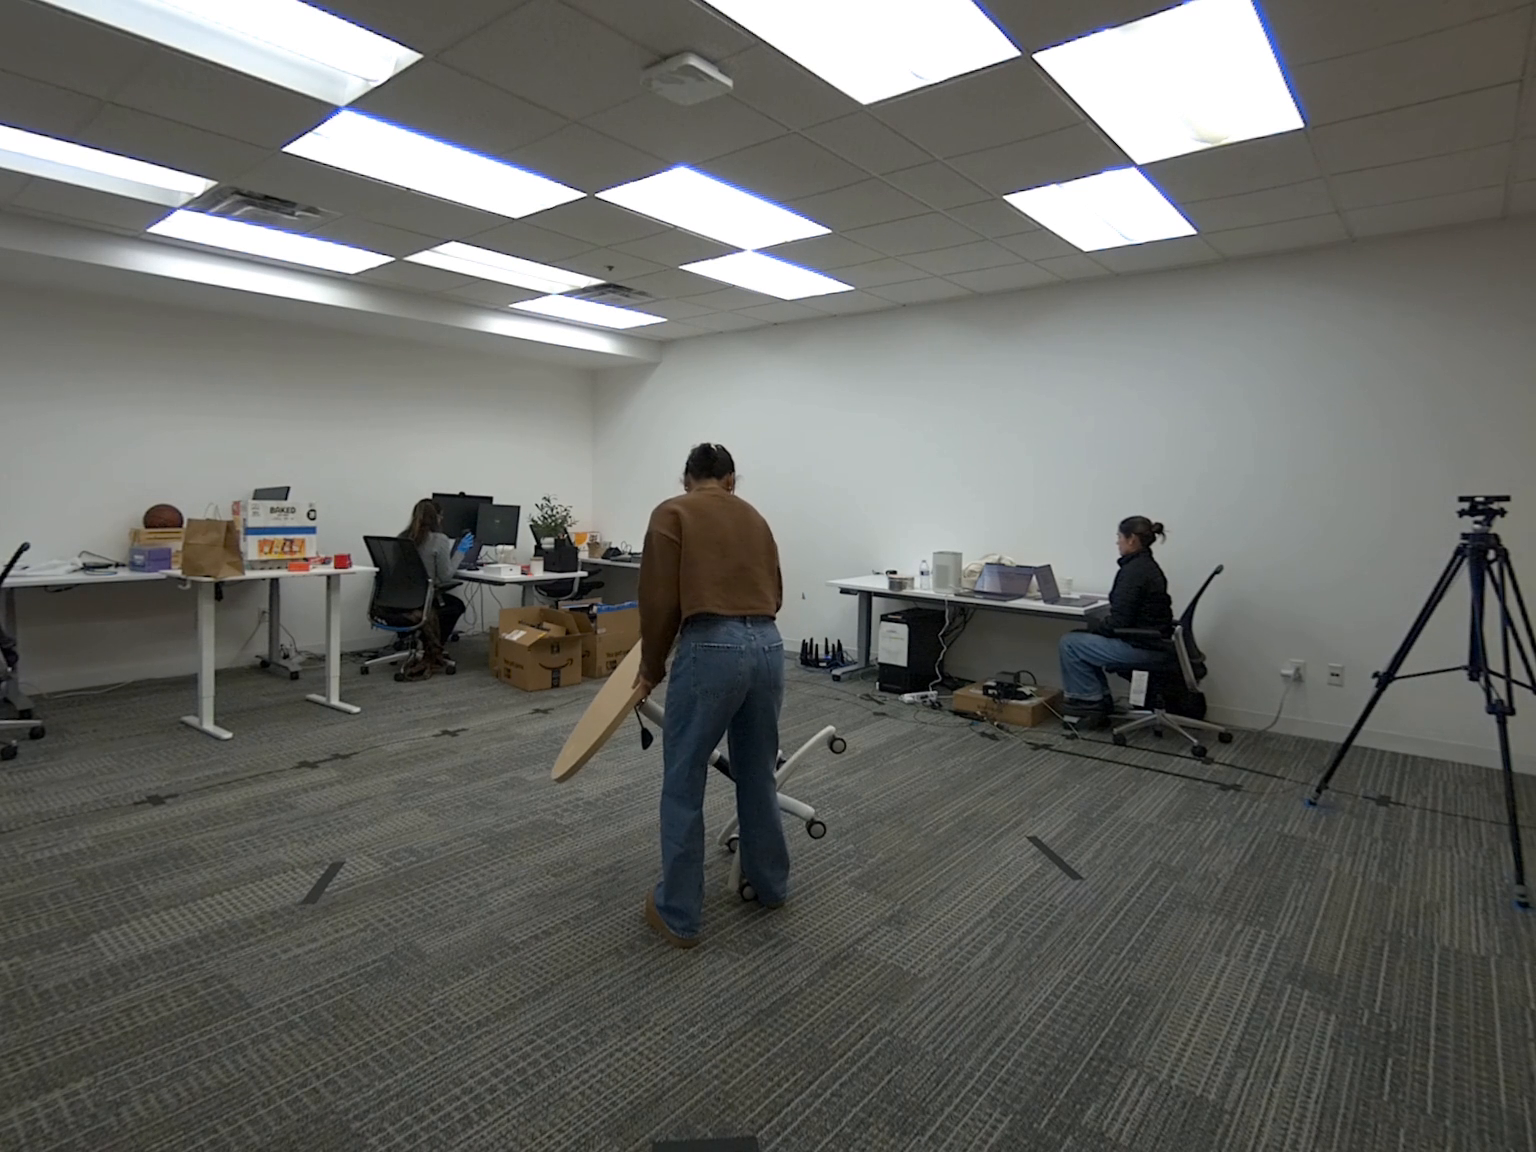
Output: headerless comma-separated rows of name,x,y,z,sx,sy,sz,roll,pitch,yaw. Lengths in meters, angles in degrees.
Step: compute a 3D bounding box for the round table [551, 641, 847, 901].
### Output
round table,-0.232,0.630,3.038,0.786,0.764,0.772,39,-1,-8
